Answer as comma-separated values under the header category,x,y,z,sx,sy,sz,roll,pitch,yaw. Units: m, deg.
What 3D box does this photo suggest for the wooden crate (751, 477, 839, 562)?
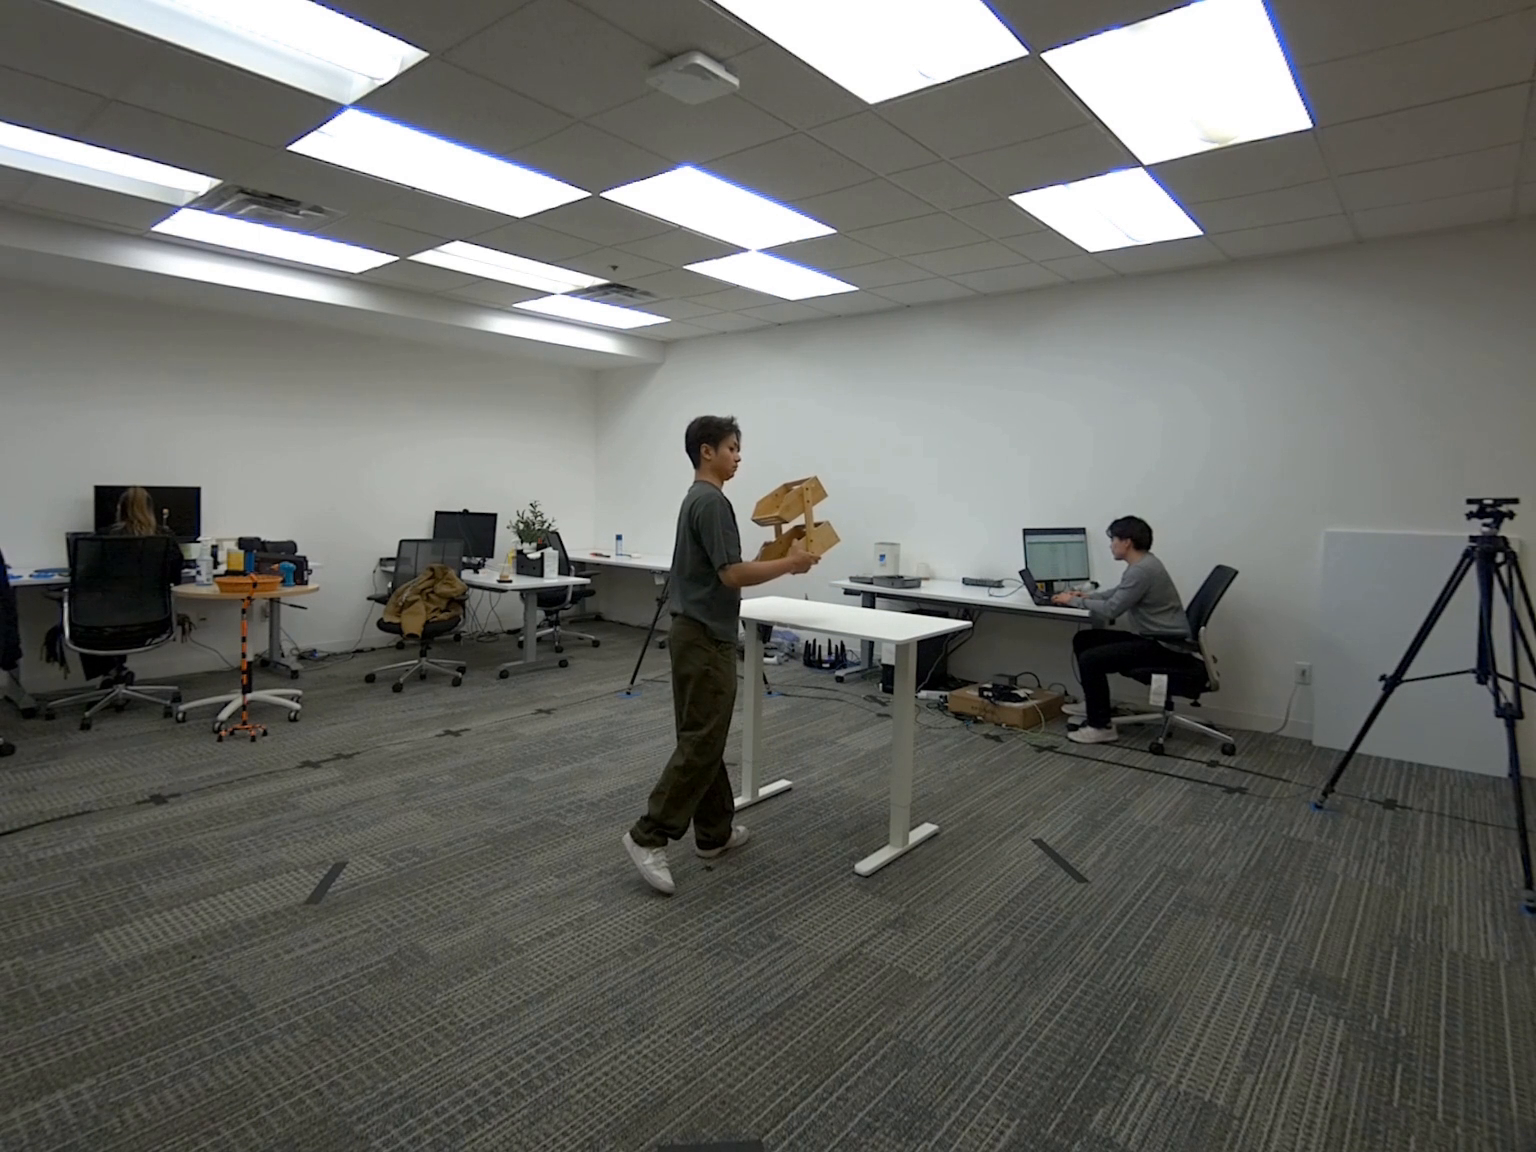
category,x,y,z,sx,sy,sz,roll,pitch,yaw
wooden crate,0.061,-0.190,3.282,0.300,0.270,0.331,-35,12,-17
